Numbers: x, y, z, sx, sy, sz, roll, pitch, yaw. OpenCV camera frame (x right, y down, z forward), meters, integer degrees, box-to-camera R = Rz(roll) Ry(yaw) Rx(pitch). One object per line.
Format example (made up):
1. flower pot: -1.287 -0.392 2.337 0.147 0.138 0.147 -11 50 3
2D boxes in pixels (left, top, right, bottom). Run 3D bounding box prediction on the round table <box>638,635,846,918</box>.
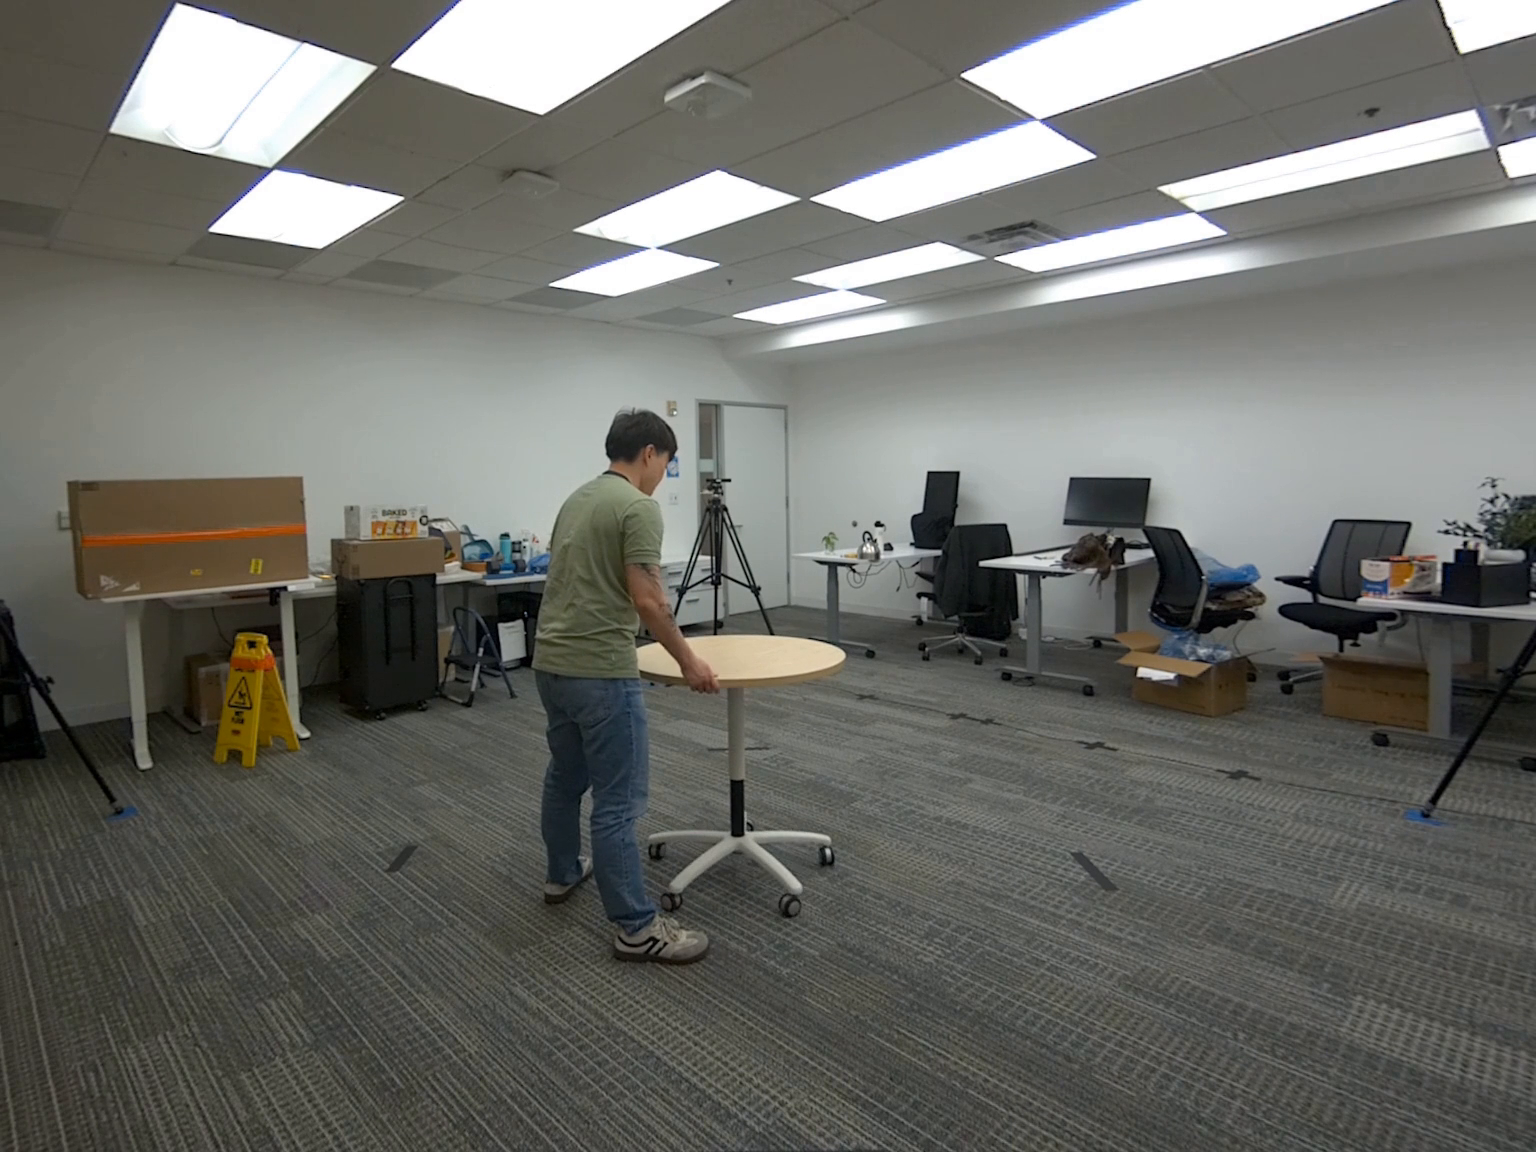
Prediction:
1. round table: -0.111 0.666 3.011 0.763 0.791 0.768 -1 5 -2
